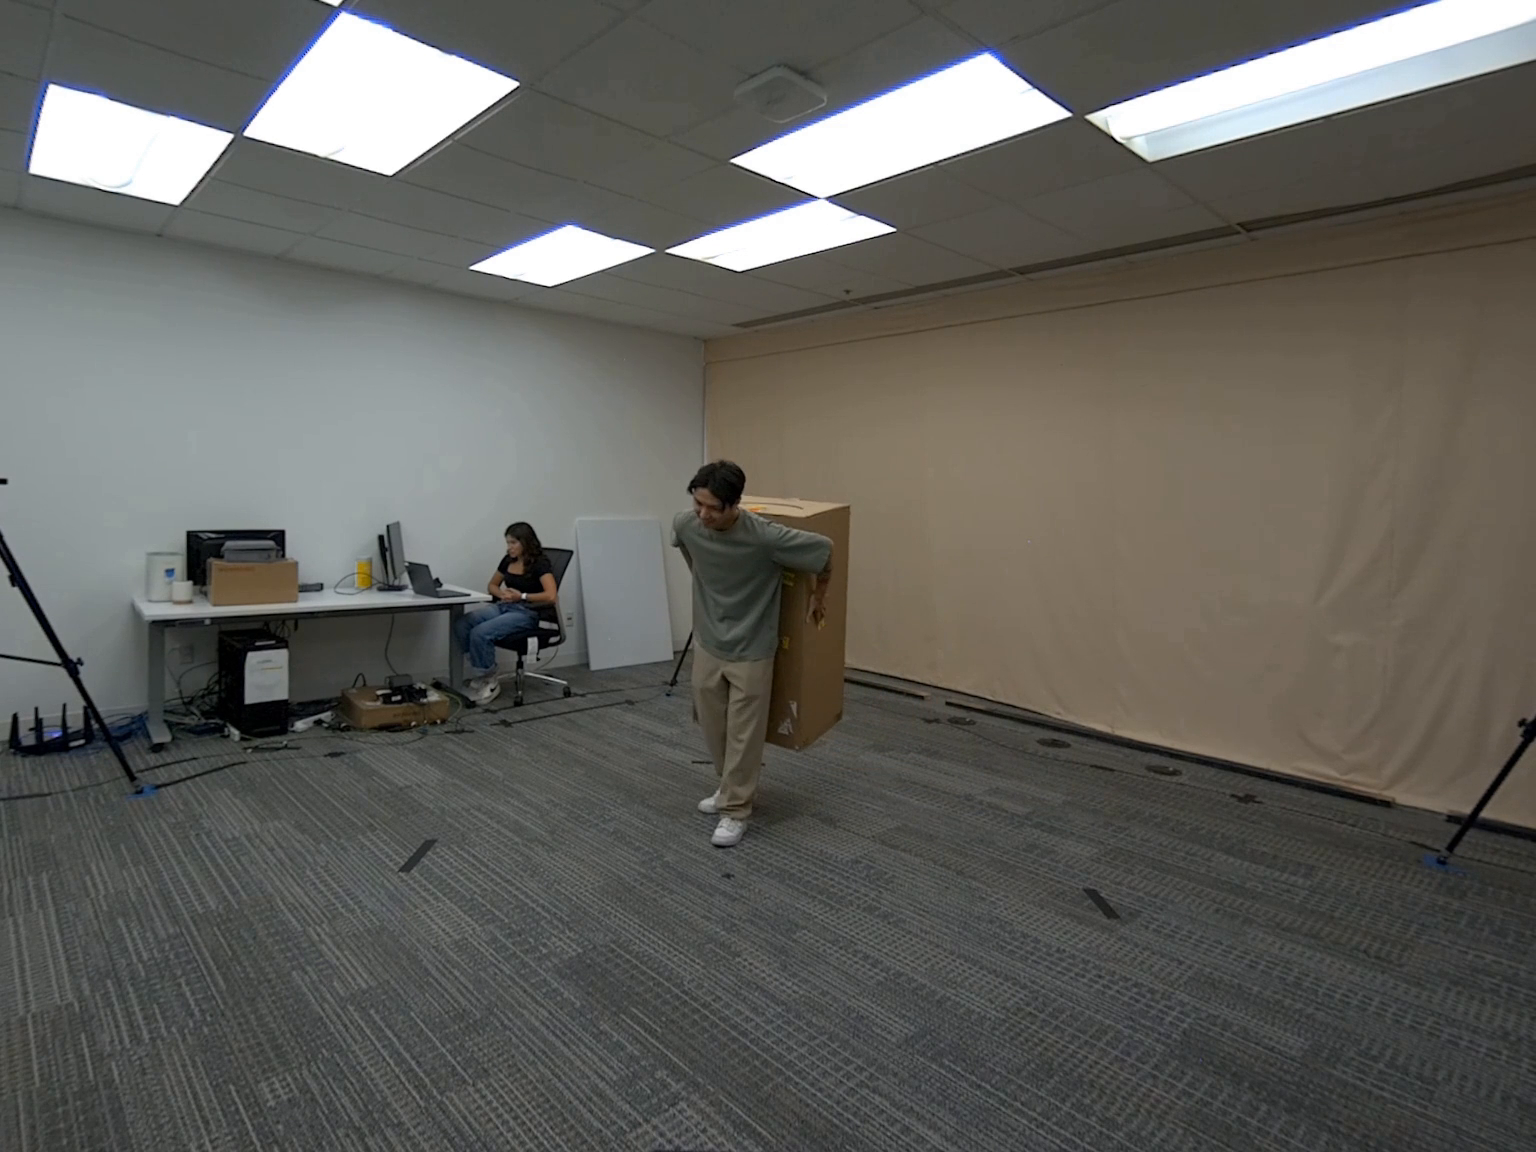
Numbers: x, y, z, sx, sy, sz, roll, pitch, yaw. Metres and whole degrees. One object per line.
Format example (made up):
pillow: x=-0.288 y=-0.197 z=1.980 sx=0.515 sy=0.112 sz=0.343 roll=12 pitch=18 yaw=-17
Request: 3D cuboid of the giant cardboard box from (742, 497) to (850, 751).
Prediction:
giant cardboard box: x=0.005 y=0.181 z=3.831 sx=0.591 sy=1.017 sz=0.419 roll=8 pitch=13 yaw=30
